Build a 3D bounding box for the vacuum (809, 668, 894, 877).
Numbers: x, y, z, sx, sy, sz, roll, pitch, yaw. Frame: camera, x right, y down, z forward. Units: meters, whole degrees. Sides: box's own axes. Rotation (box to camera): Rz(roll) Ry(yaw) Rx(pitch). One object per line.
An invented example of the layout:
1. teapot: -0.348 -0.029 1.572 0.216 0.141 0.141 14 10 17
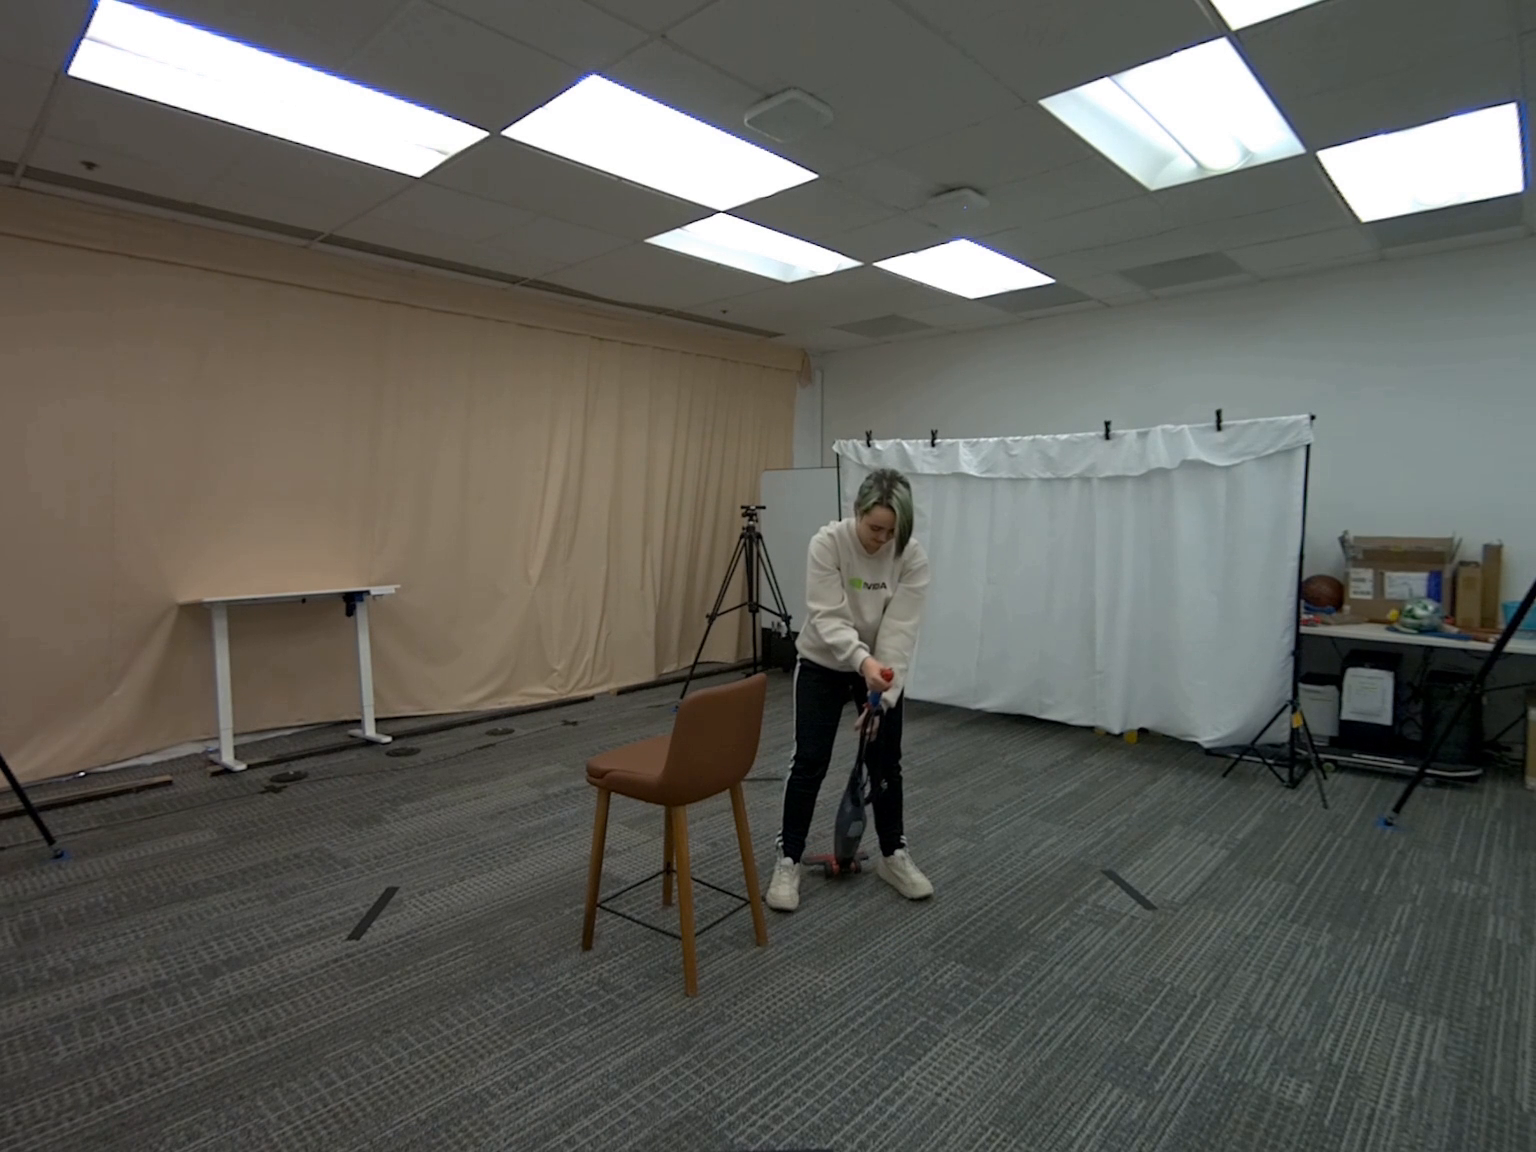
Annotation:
1. vacuum: 0.315 0.690 2.826 0.250 1.034 0.147 0 41 -10
